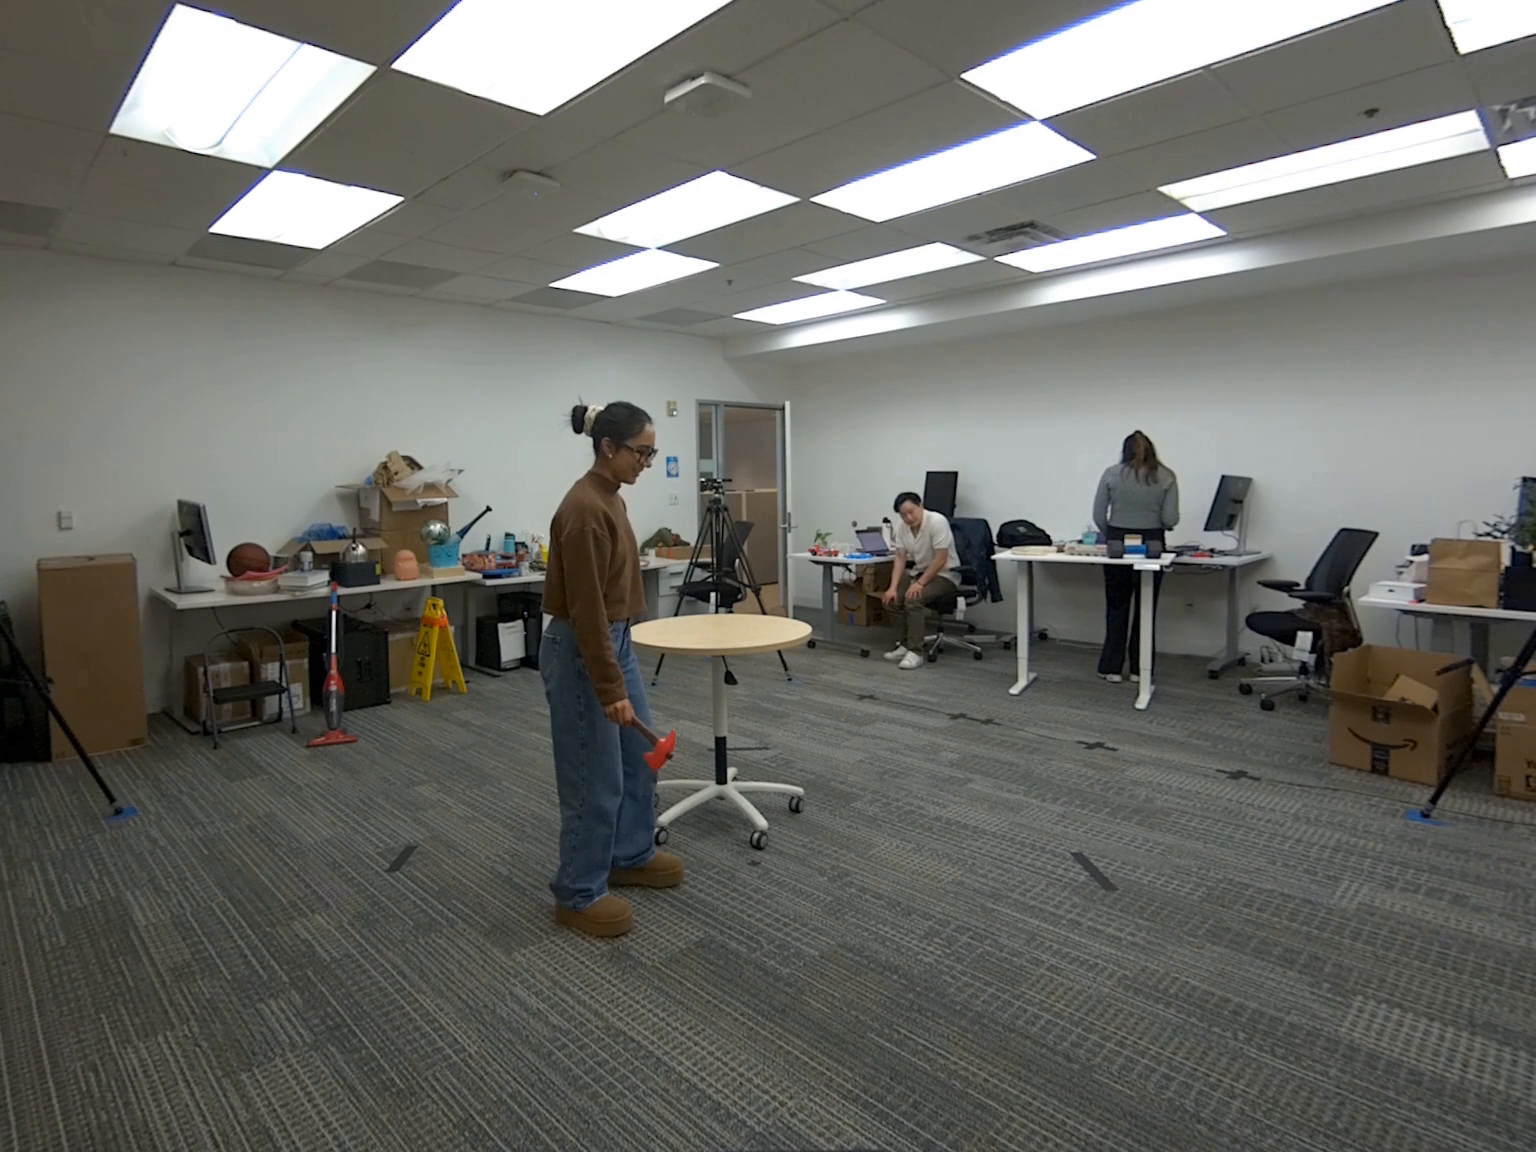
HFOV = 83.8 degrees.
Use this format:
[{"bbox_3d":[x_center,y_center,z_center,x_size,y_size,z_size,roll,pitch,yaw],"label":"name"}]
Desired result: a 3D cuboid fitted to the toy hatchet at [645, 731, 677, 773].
[{"bbox_3d":[-0.366,0.453,2.395,0.279,0.131,0.028,11,-2,36],"label":"toy hatchet"}]
